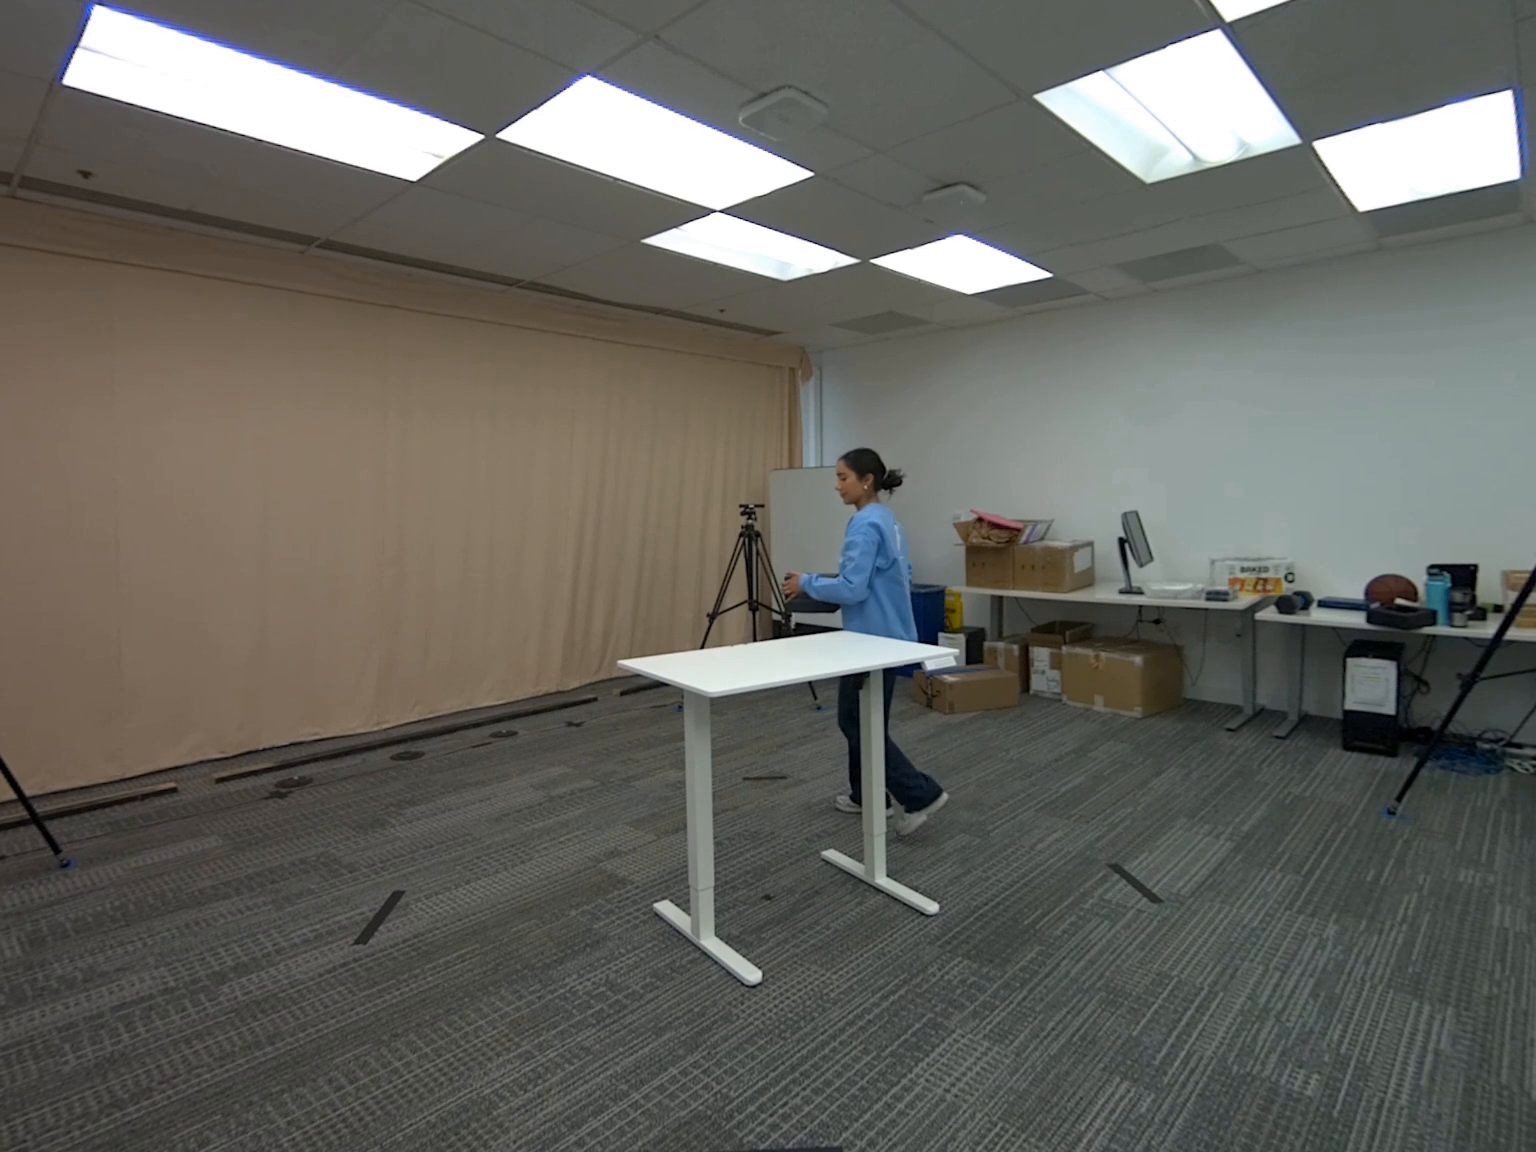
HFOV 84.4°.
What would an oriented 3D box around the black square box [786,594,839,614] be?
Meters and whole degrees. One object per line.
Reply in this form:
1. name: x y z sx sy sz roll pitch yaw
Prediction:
1. black square box: 0.207 0.078 3.692 0.220 0.156 0.225 0 3 13
